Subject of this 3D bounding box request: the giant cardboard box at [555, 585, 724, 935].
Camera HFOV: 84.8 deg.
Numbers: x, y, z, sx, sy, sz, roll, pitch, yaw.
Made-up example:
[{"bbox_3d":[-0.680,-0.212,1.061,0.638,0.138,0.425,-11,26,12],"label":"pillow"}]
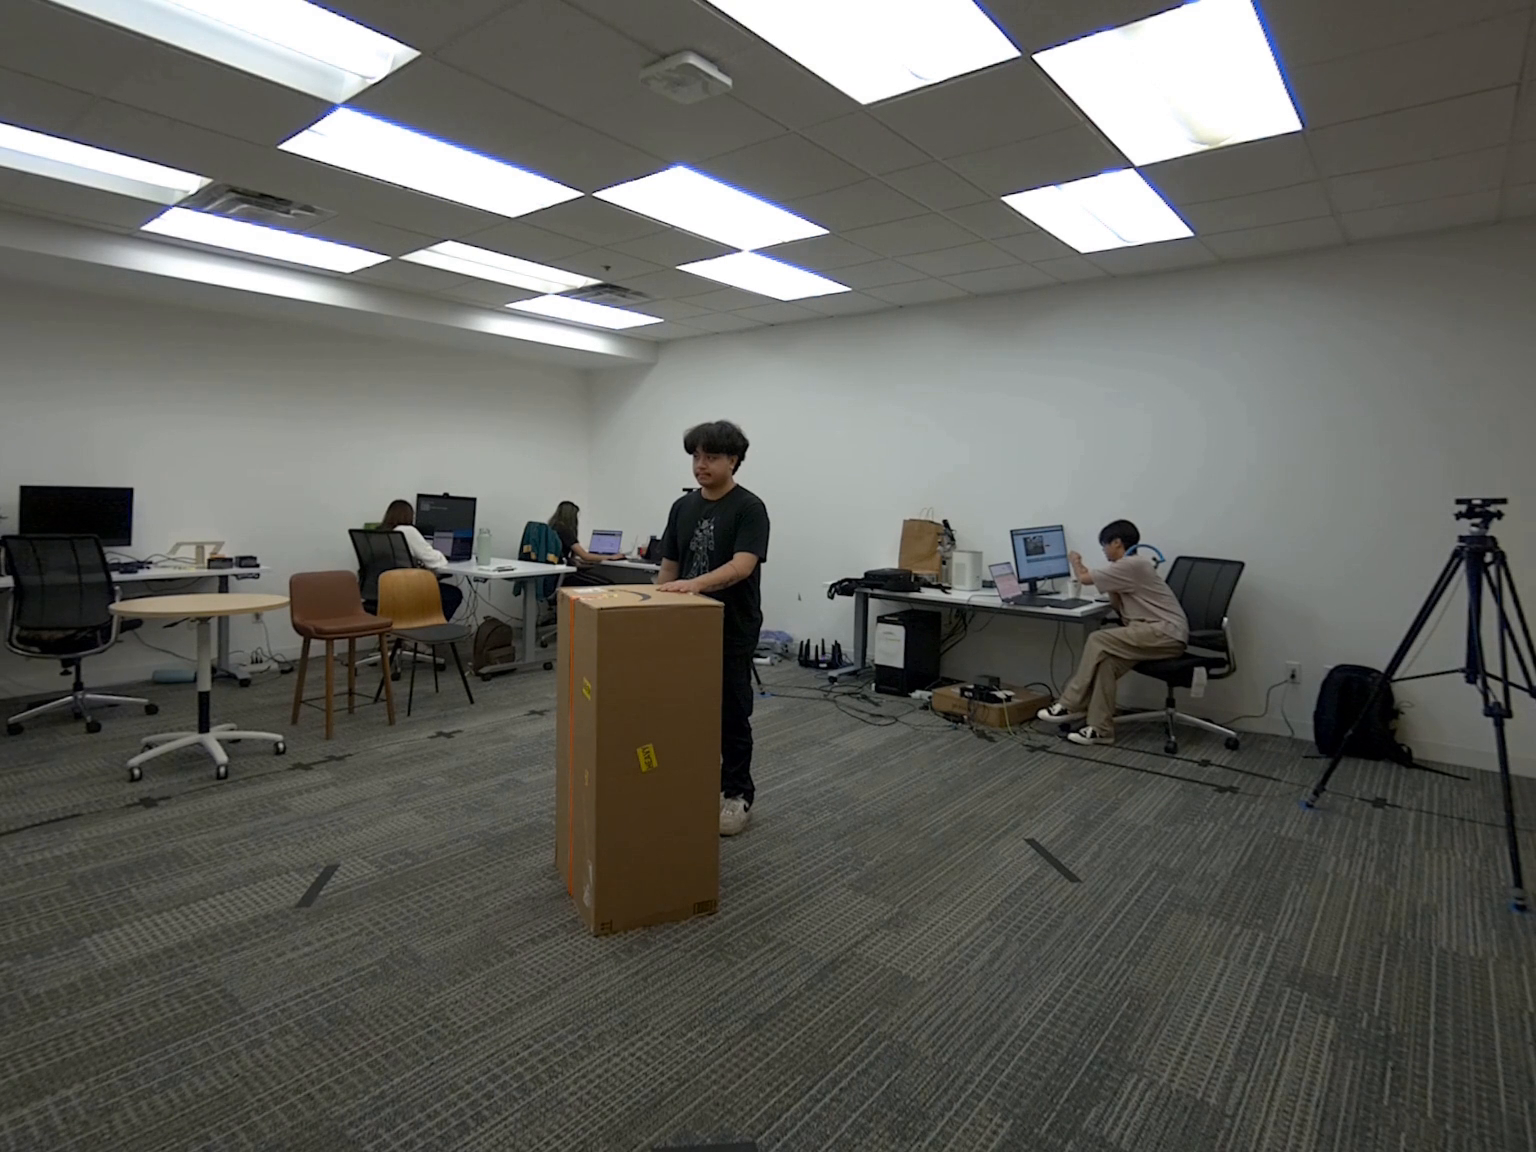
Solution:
[{"bbox_3d":[-0.478,0.569,2.940,0.436,1.024,0.599,-1,4,-25],"label":"giant cardboard box"}]
